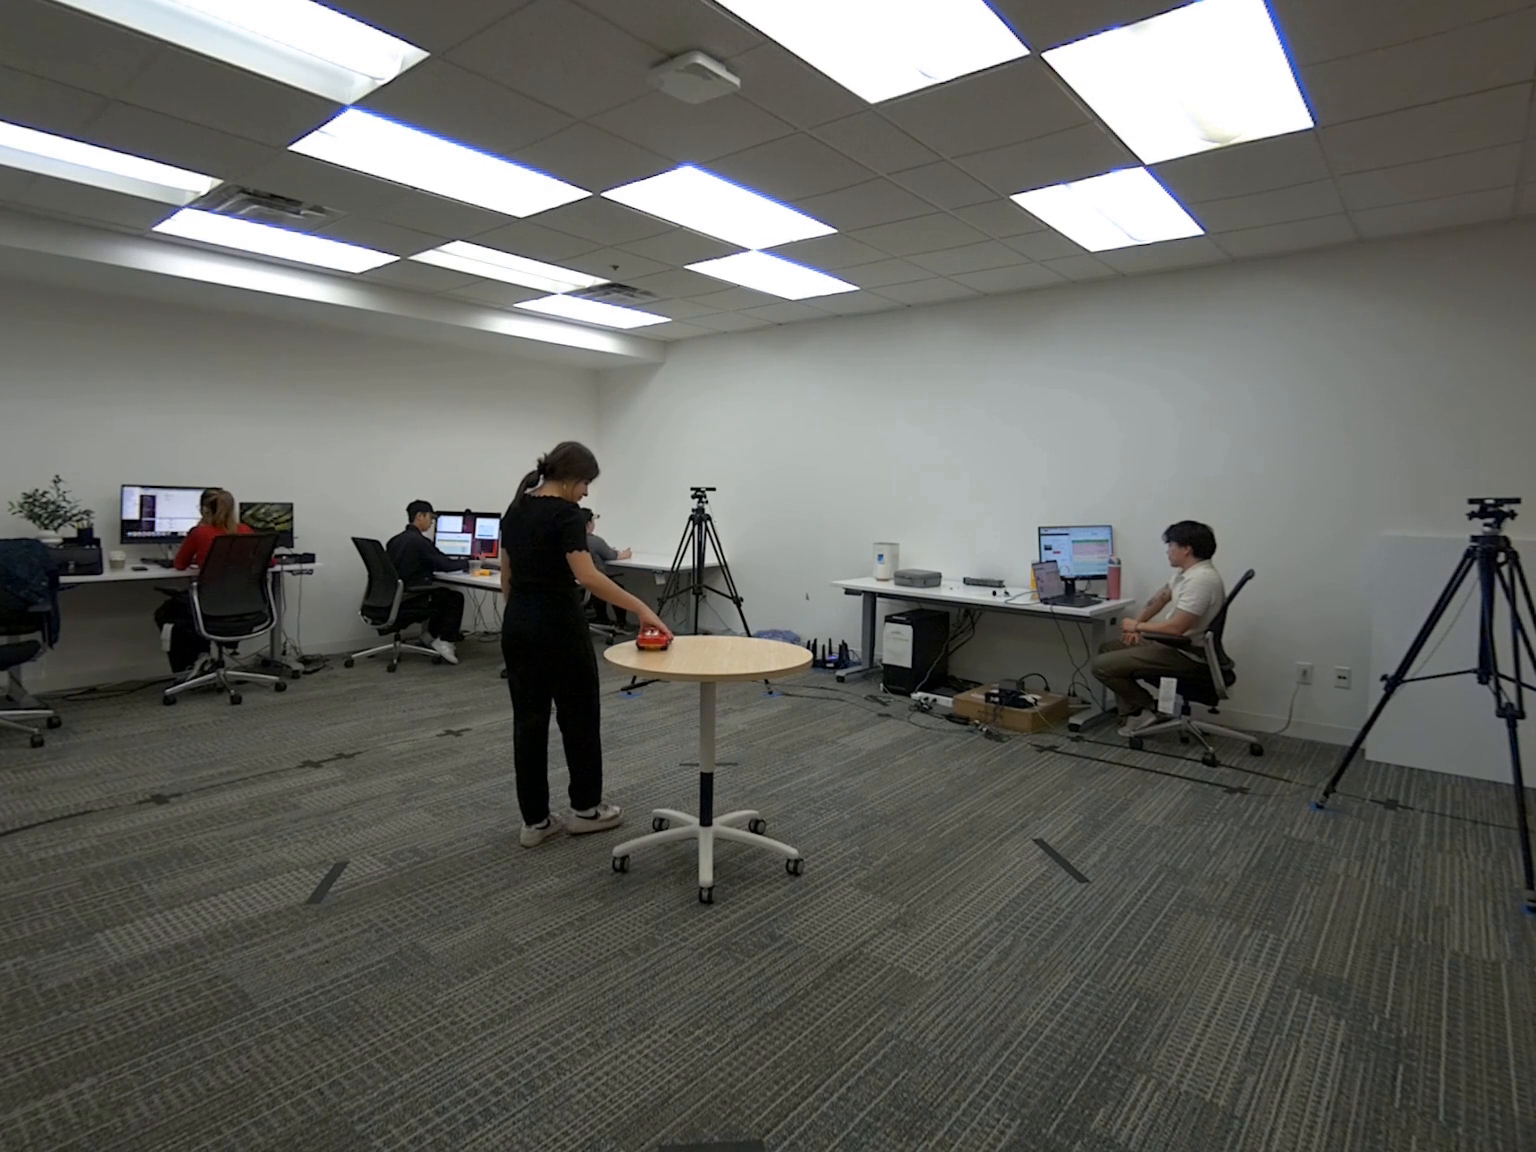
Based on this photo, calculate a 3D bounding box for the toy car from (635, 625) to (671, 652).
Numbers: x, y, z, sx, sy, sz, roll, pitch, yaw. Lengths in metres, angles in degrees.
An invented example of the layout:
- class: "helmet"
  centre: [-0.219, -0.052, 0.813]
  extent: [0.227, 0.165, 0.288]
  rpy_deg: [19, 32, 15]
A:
- class: "toy car"
  centre: [-0.442, 0.238, 3.230]
  extent: [0.131, 0.084, 0.252]
  rpy_deg: [2, -6, 1]
